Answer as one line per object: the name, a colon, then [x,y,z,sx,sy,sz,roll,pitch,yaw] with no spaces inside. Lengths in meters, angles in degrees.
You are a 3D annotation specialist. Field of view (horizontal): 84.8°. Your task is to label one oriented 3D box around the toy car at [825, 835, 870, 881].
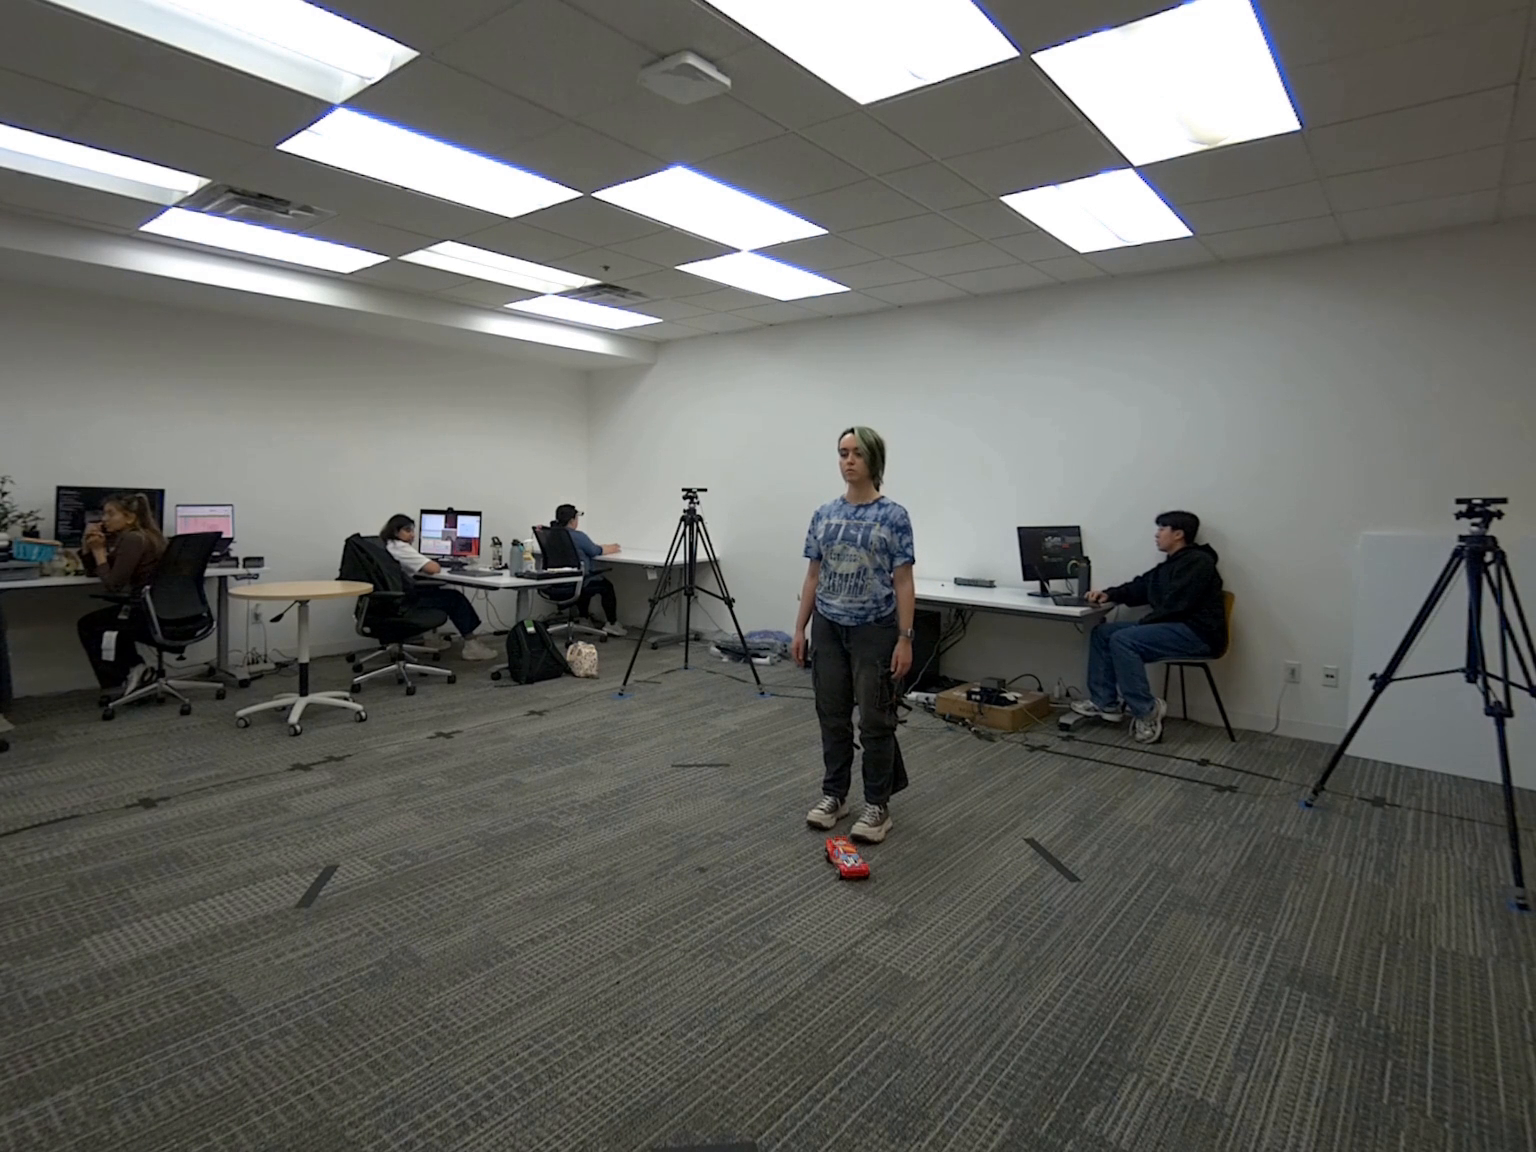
toy car: [0.282,1.044,3.155,0.129,0.082,0.261,-1,17,-11]
